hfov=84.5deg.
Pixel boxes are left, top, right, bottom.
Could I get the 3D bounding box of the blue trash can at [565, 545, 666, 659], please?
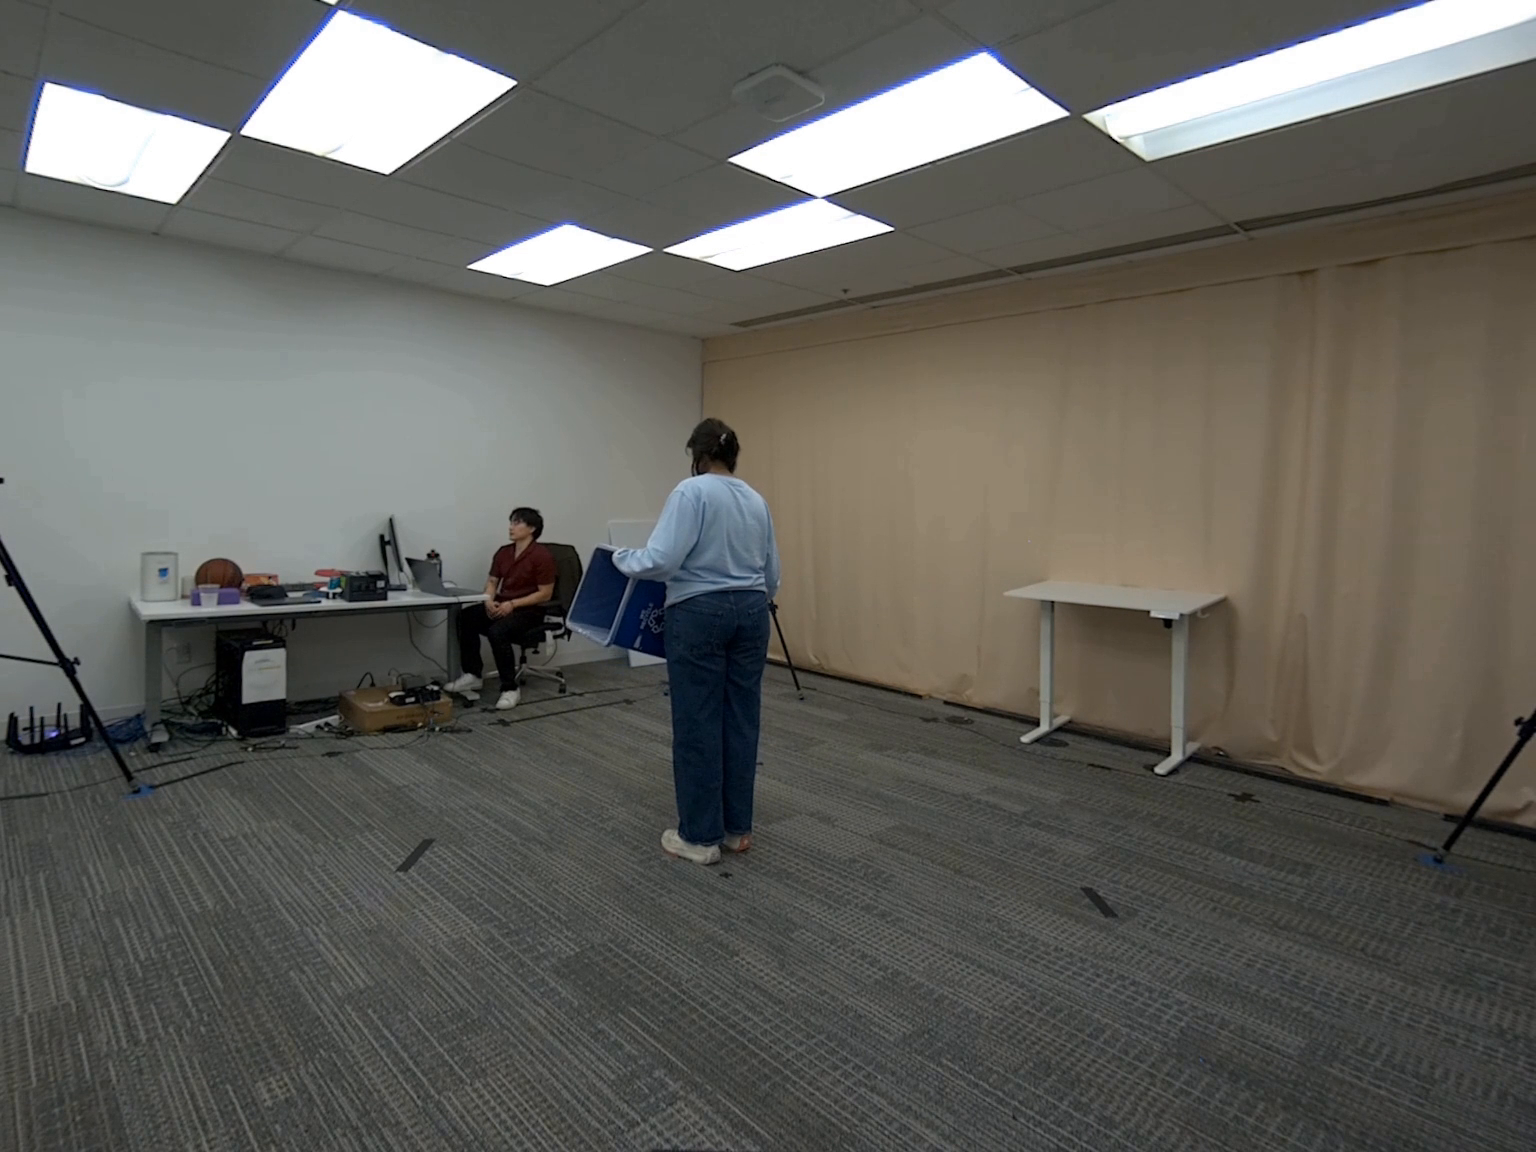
[{"bbox_3d":[-0.416,0.168,3.535,0.692,0.375,0.388,23,-6,-39],"label":"blue trash can"}]
